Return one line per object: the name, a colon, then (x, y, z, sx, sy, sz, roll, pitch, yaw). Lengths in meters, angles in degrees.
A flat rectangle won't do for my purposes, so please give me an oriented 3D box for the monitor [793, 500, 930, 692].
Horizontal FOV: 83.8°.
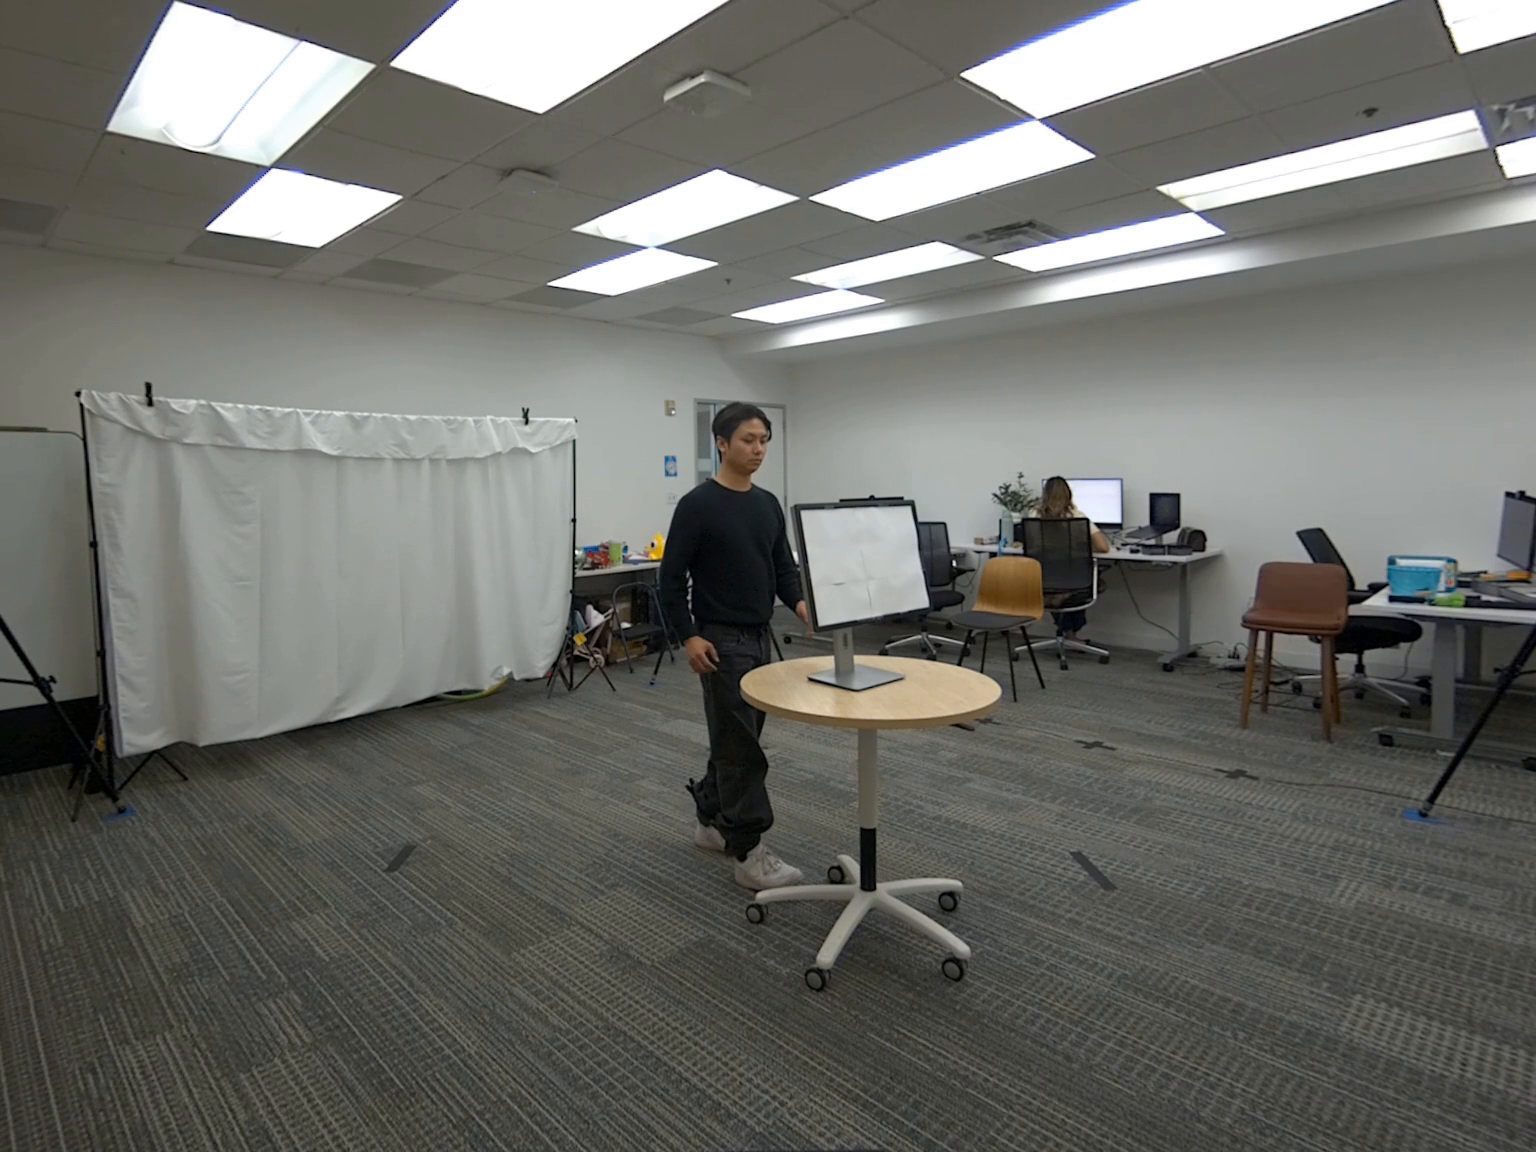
monitor: (0.275, 0.048, 2.590, 0.515, 0.513, 0.180, -3, 9, -44)
